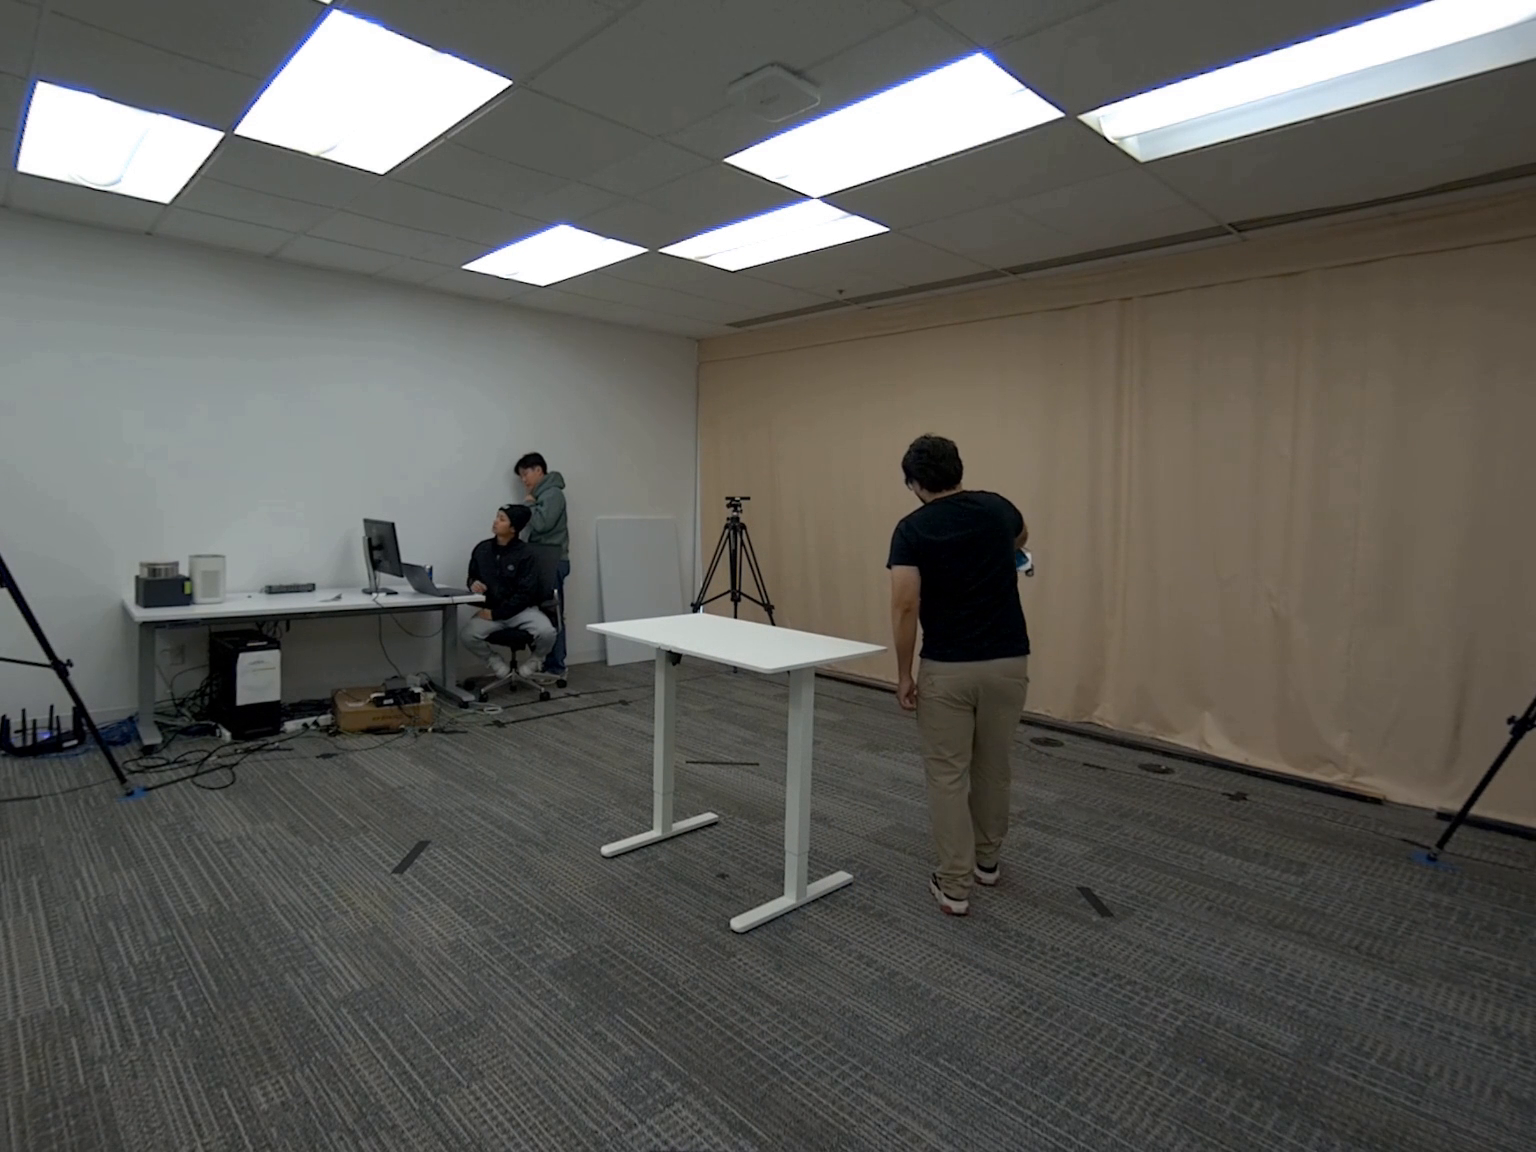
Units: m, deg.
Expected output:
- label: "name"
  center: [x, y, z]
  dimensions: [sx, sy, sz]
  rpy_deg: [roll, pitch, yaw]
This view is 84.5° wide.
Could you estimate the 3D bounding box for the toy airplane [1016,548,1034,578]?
- label: "toy airplane"
  center: [0.987, -0.015, 3.525]
  dimensions: [0.154, 0.259, 0.254]
  rpy_deg: [41, 6, -13]
